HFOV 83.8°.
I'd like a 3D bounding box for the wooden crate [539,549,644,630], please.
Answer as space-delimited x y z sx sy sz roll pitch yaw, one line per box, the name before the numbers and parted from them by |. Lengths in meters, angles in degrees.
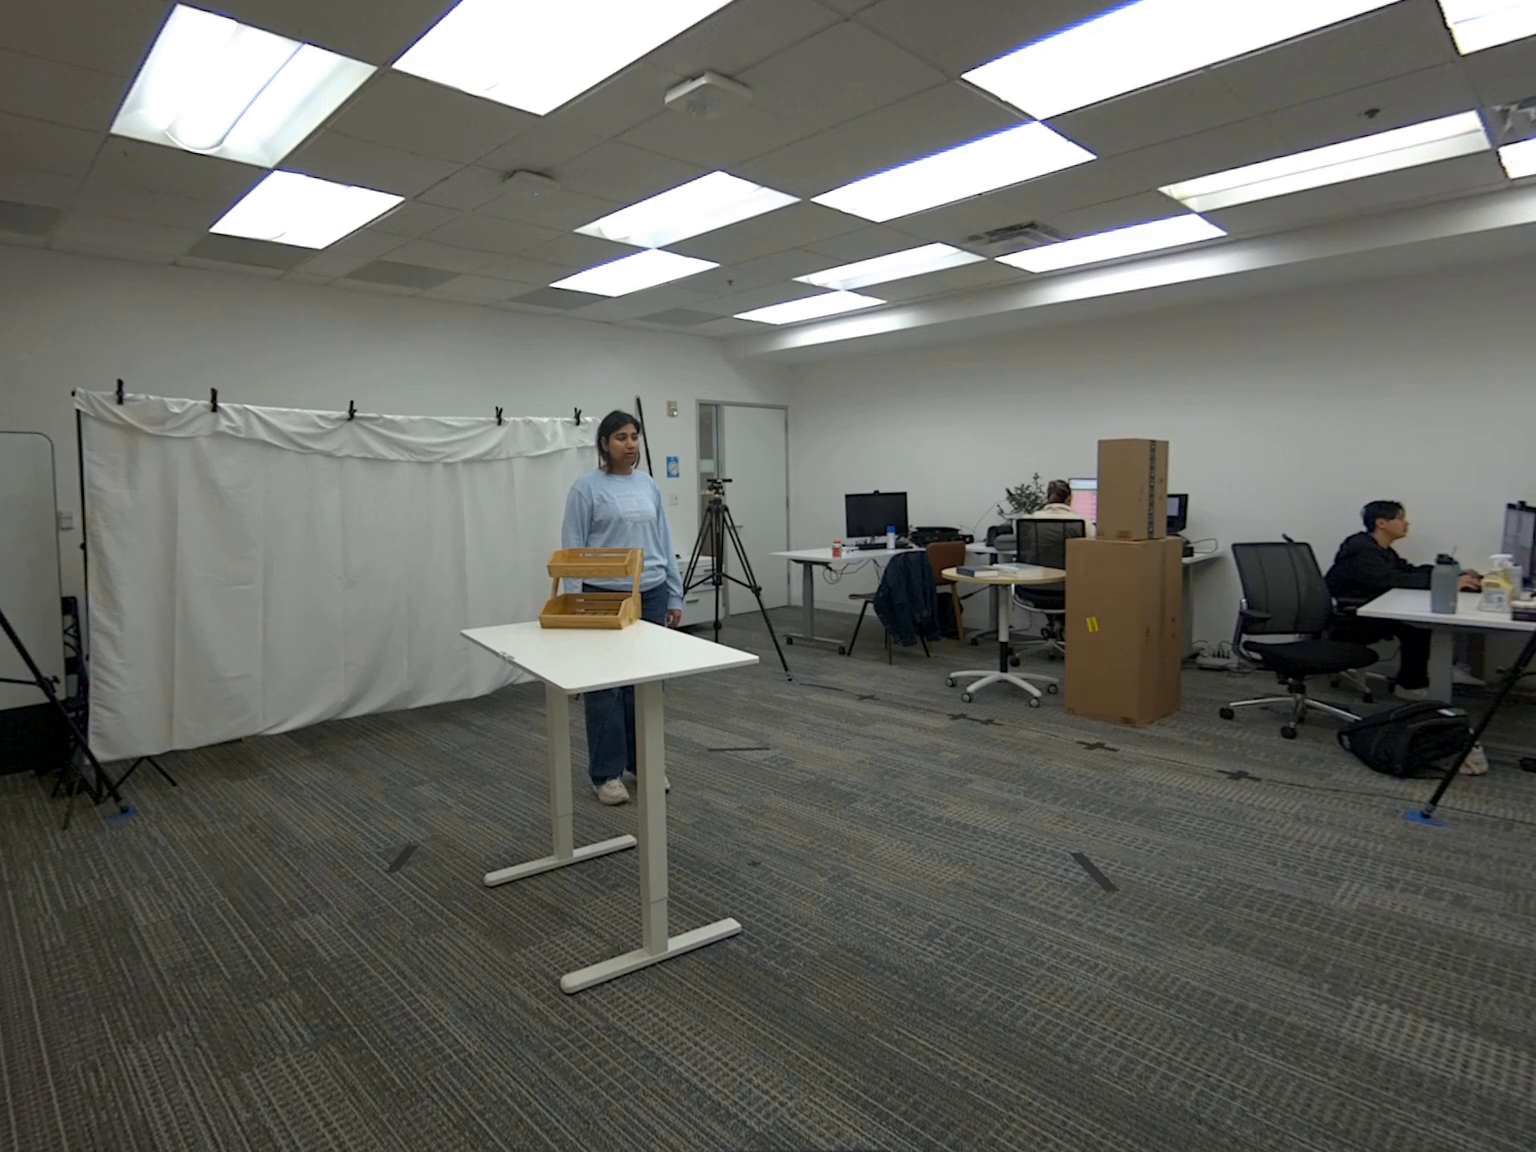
wooden crate | -0.642 0.040 3.104 0.327 0.272 0.301 -1 5 7
